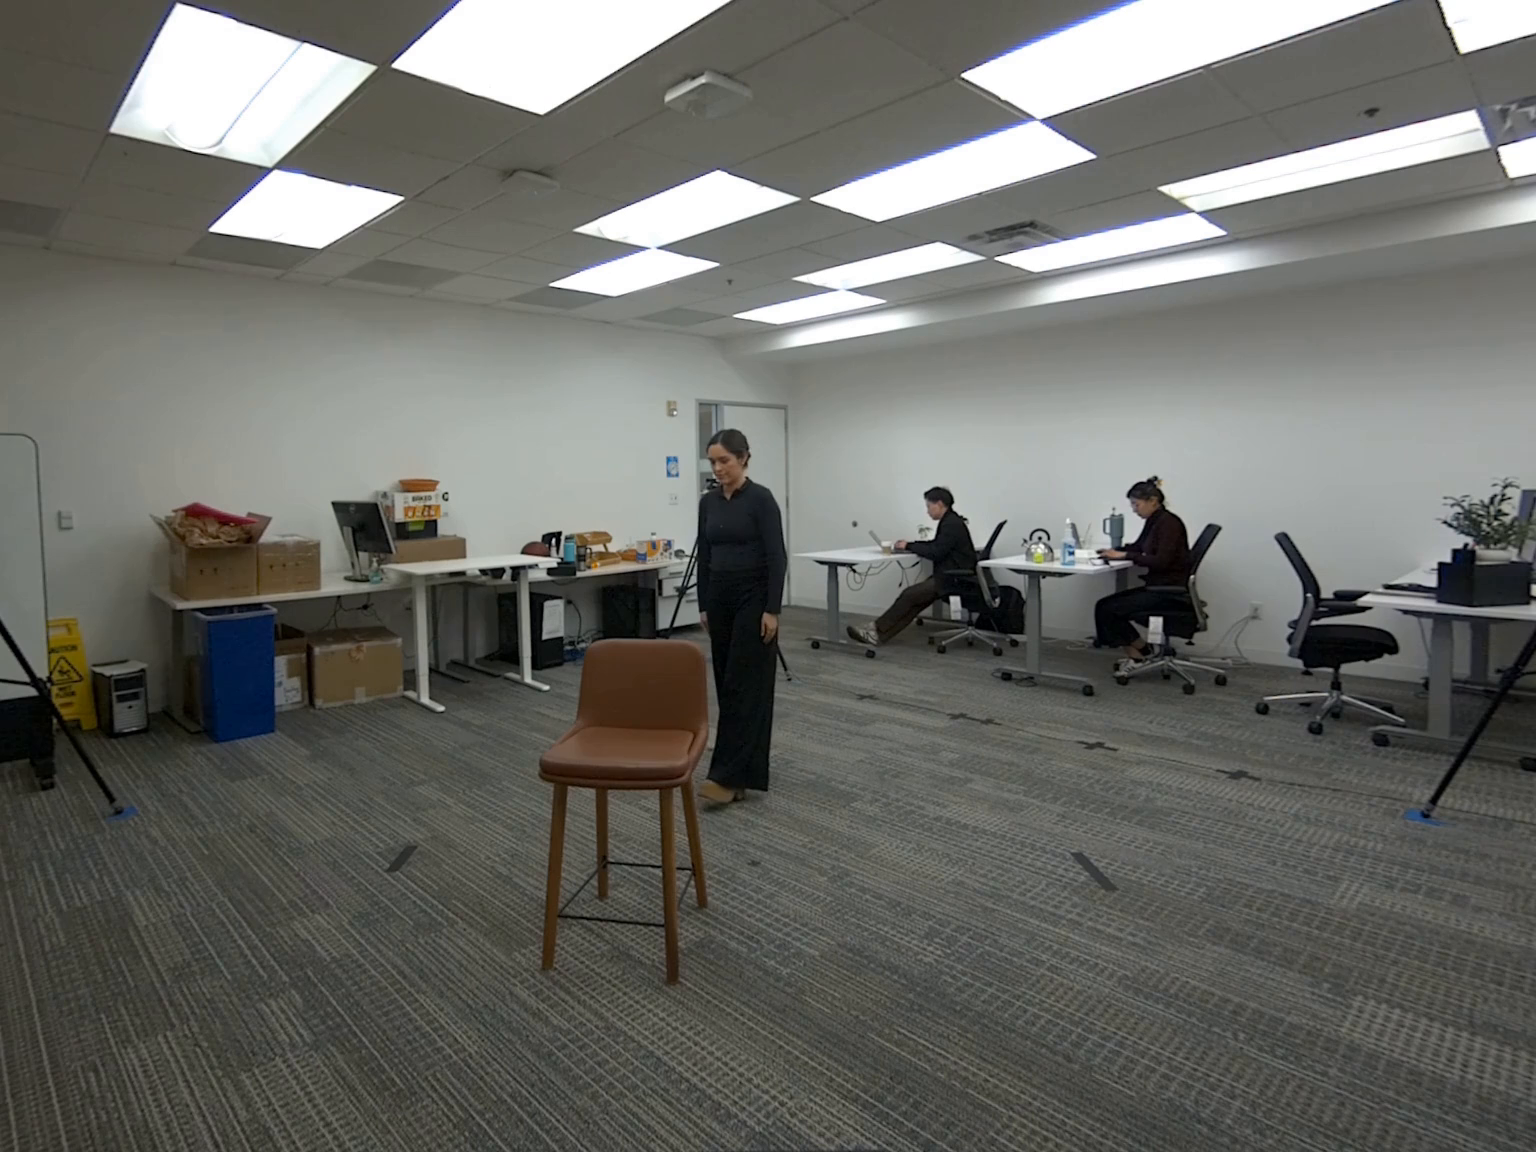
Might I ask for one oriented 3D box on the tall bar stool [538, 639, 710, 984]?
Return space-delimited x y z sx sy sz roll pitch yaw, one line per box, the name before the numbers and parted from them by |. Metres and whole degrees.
tall bar stool | -0.419 0.675 2.610 0.462 0.887 0.463 0 3 11
